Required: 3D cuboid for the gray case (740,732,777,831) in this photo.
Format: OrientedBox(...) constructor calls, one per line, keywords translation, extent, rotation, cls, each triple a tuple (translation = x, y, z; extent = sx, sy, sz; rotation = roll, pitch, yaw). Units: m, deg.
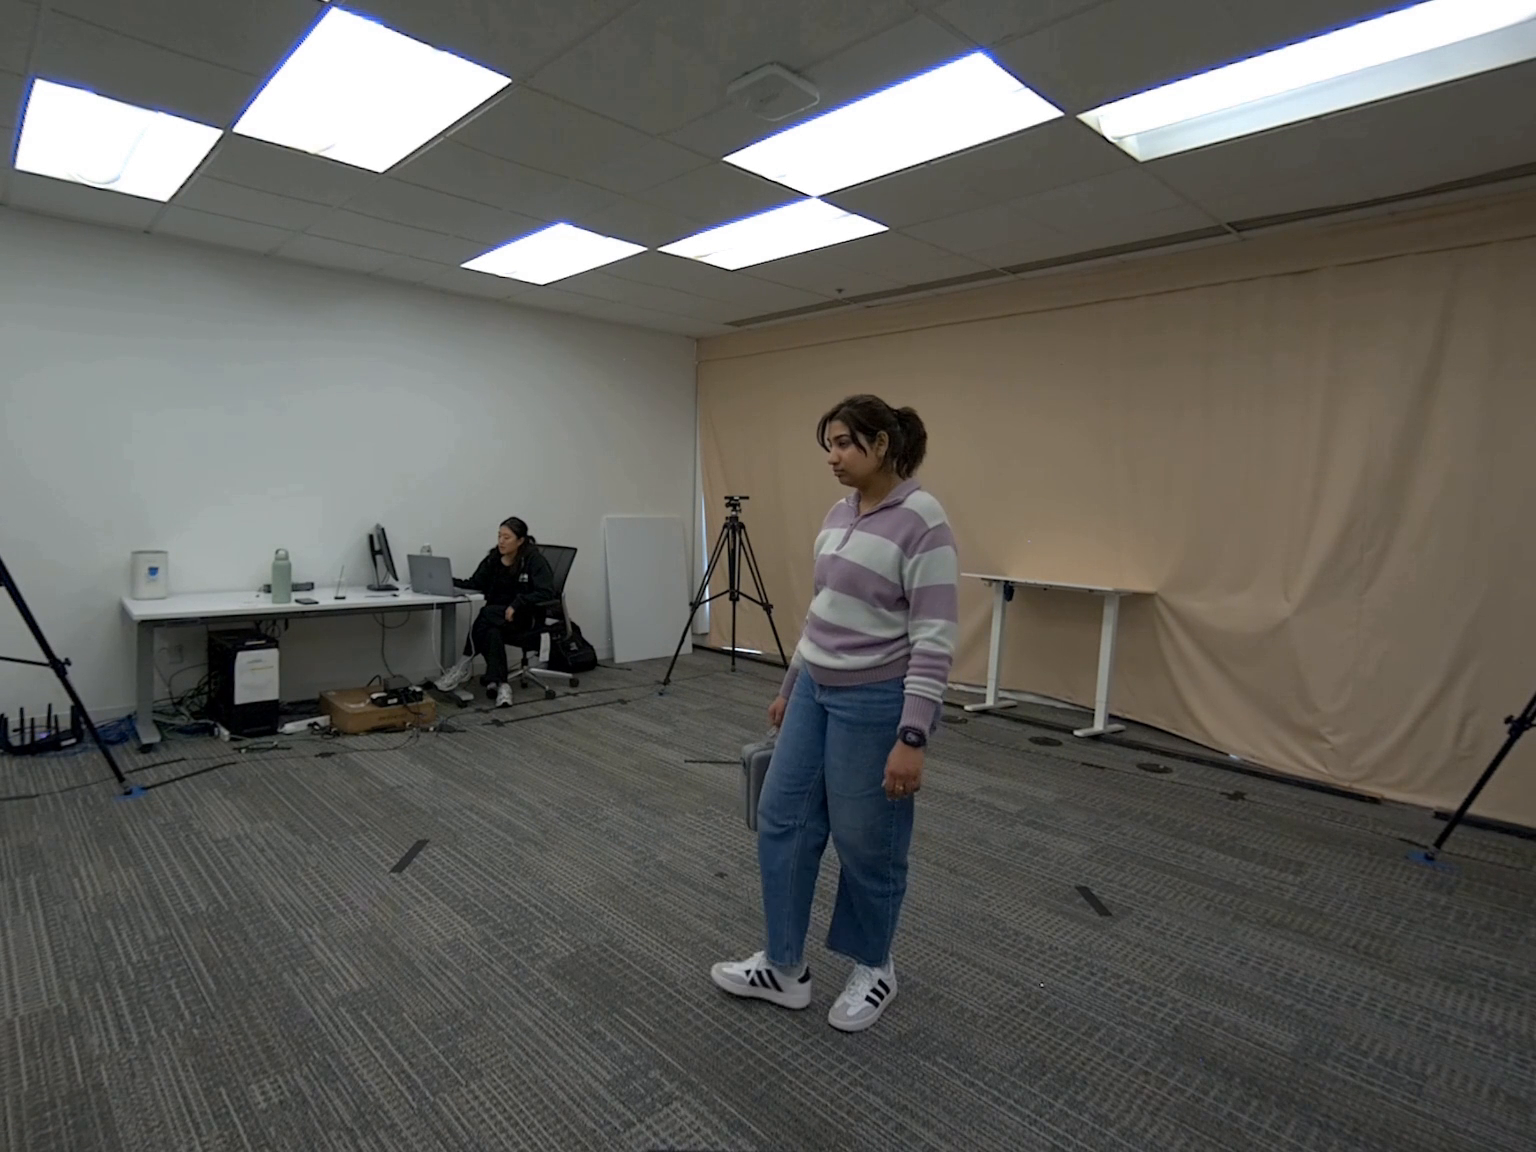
OrientedBox(translation=(0.038, 0.625, 2.556), extent=(0.253, 0.260, 0.106), rotation=(-1, 4, -18), cls="gray case")
